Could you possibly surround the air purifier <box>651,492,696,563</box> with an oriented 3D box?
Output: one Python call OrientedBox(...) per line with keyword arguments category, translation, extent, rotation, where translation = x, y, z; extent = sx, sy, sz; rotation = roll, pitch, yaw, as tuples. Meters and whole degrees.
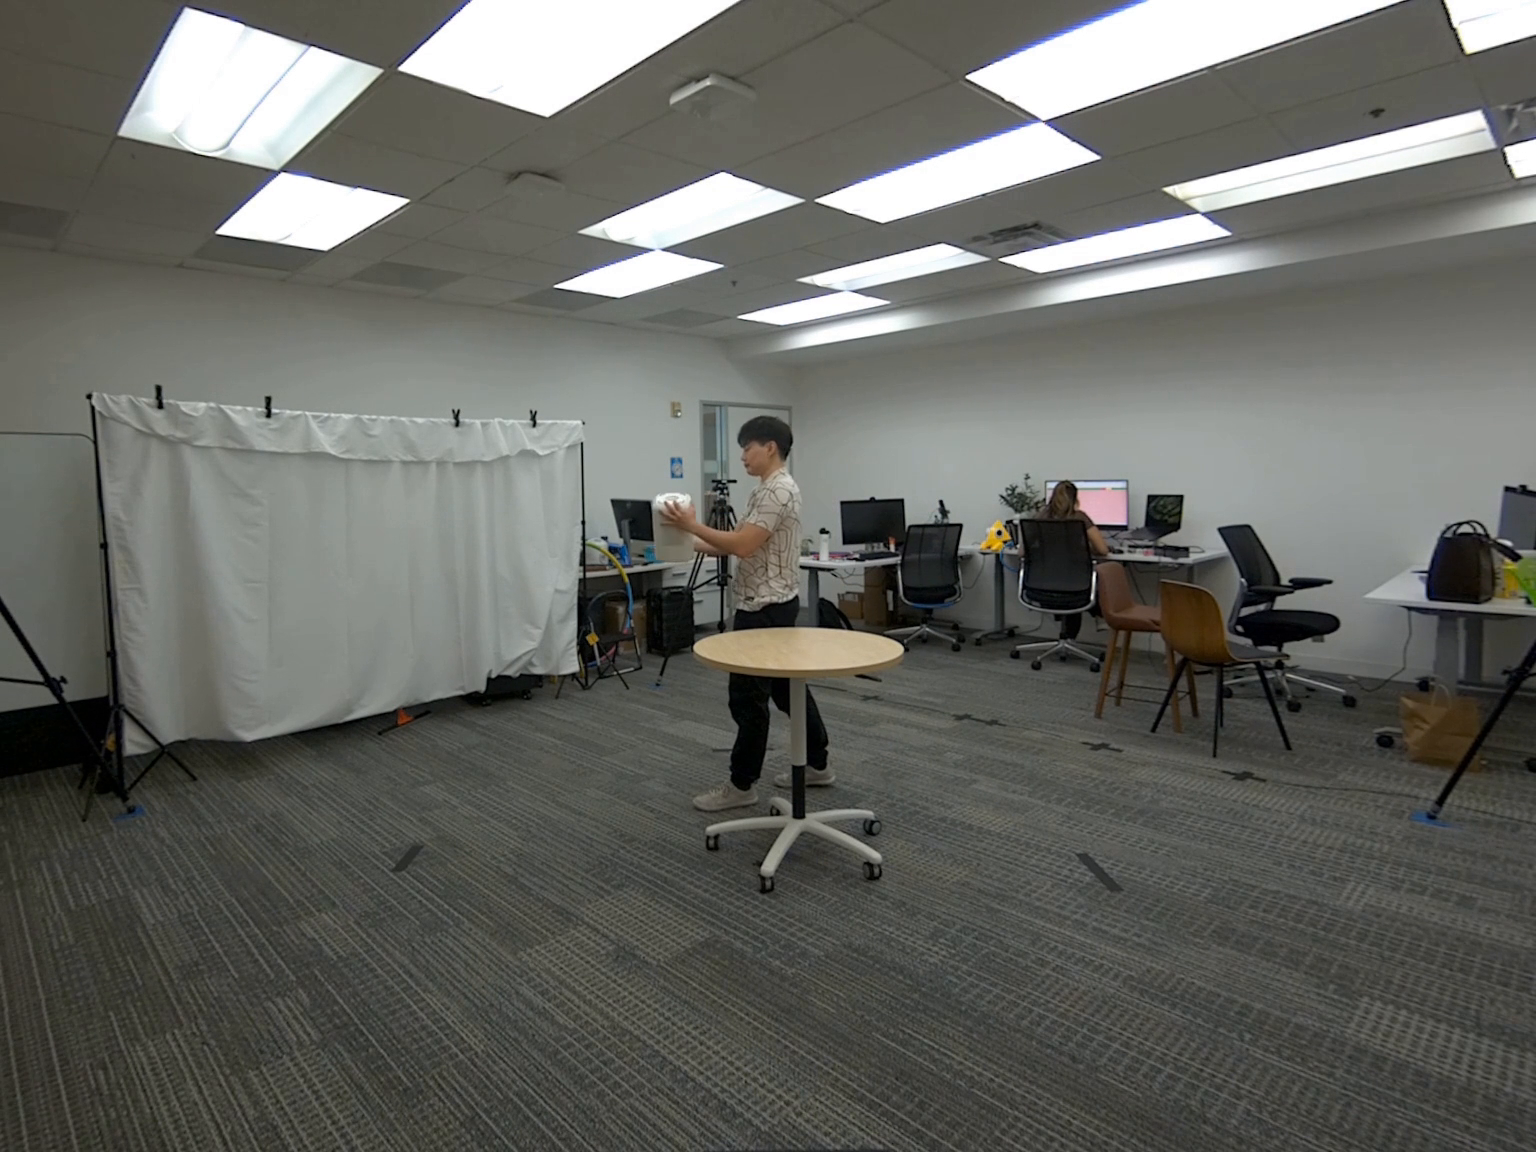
OrientedBox(category="air purifier", translation=(-0.409, -0.218, 3.722), extent=(0.172, 0.261, 0.174), rotation=(-1, 20, 0))
